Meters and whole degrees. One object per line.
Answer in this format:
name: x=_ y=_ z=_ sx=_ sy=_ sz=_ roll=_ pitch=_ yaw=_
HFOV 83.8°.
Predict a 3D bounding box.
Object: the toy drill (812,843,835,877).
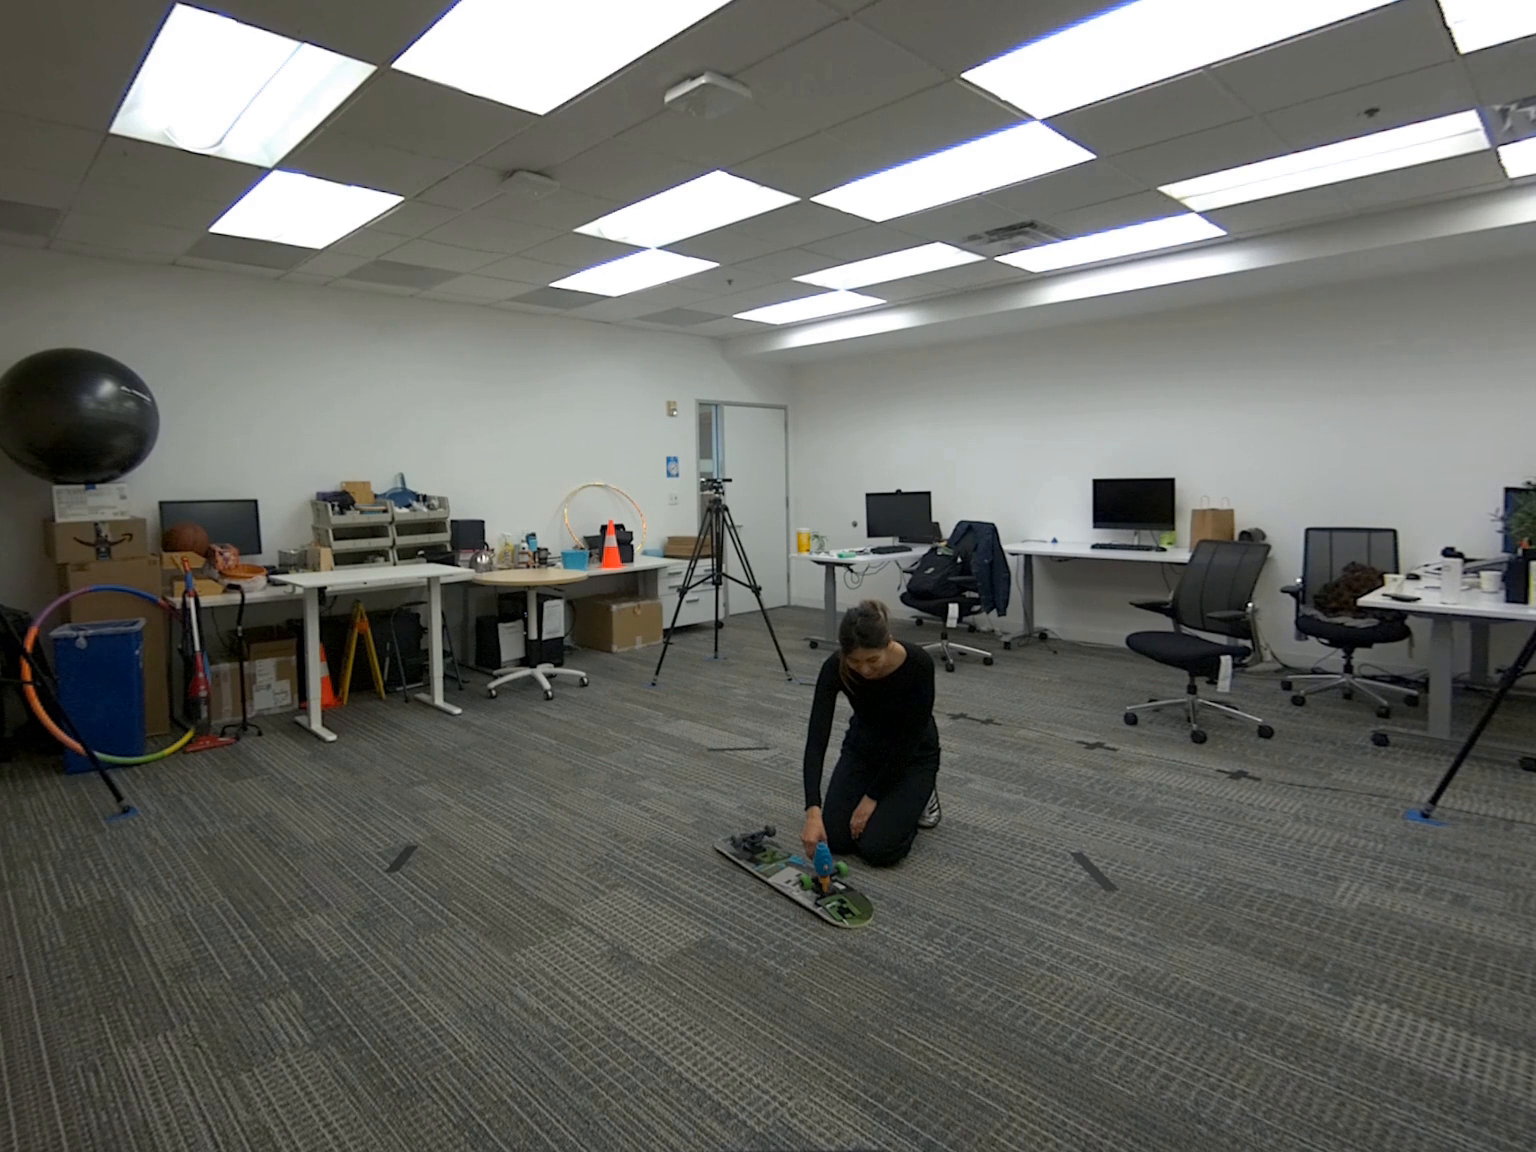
toy drill: x=0.170 y=0.944 z=2.811 sx=0.061 sy=0.169 sz=0.147 roll=-6 pitch=4 yaw=-8
